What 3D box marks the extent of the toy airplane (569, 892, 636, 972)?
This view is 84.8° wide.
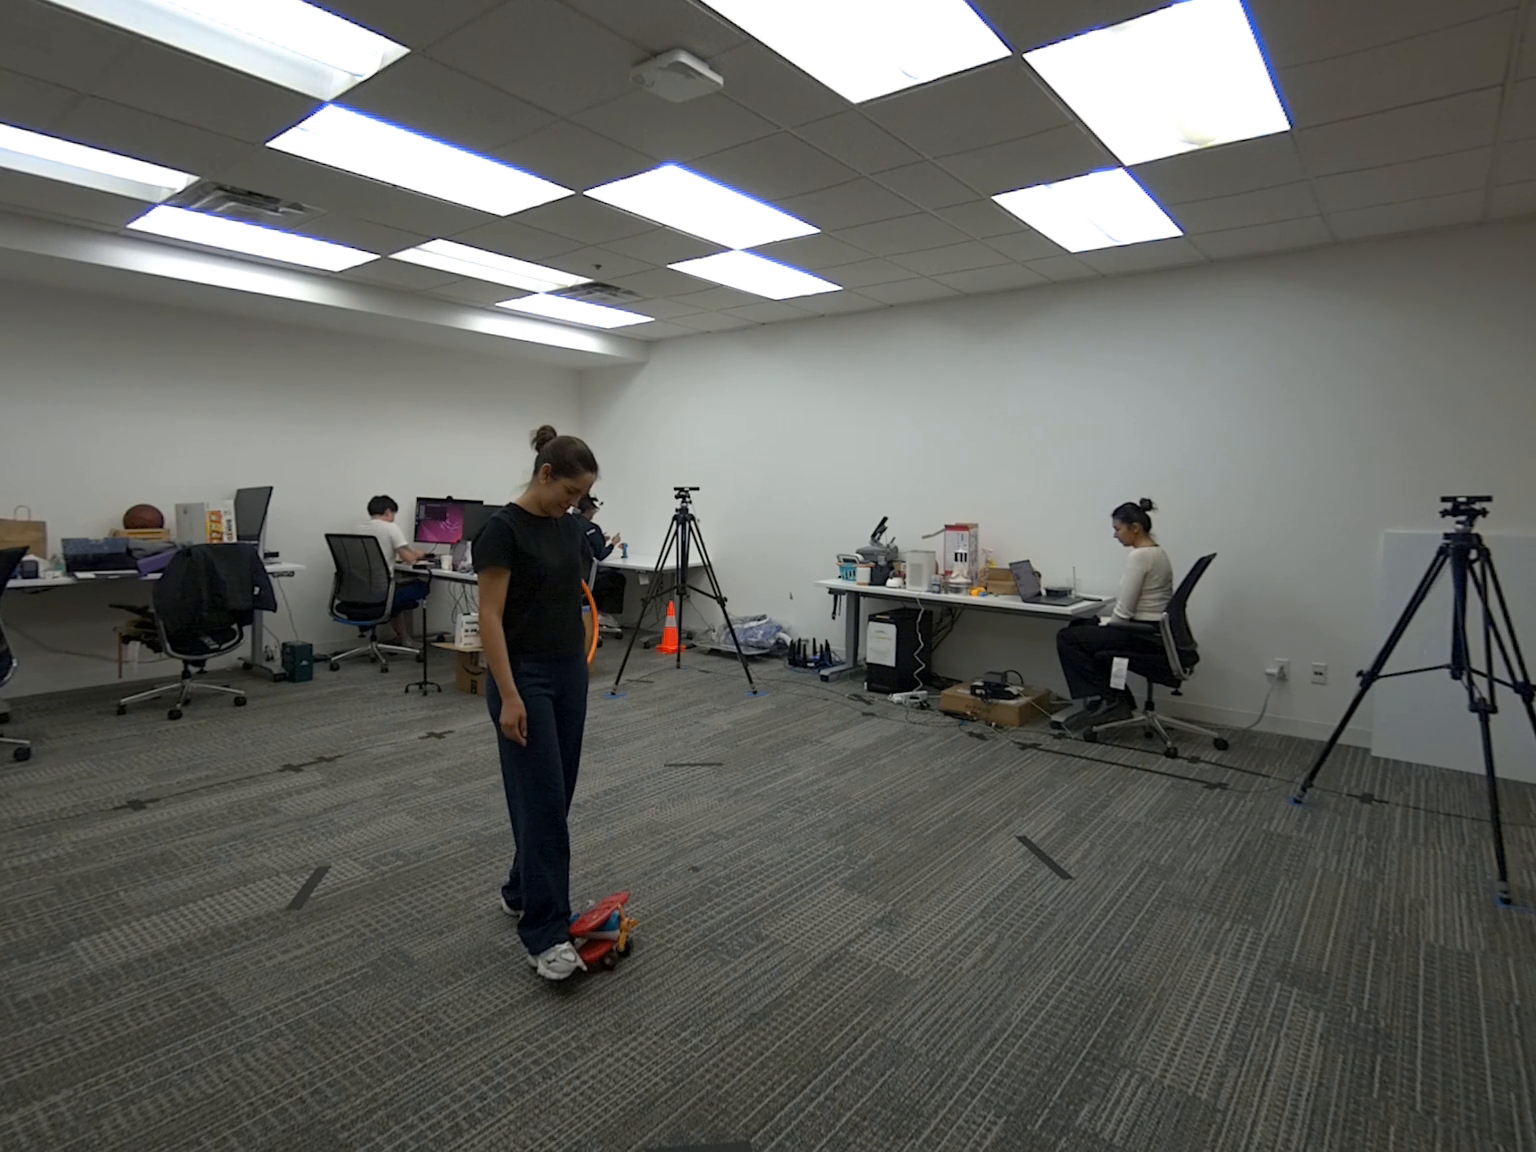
[{"bbox_3d":[-0.517,1.049,2.518,0.258,0.156,0.253,2,5,-4],"label":"toy airplane"}]
